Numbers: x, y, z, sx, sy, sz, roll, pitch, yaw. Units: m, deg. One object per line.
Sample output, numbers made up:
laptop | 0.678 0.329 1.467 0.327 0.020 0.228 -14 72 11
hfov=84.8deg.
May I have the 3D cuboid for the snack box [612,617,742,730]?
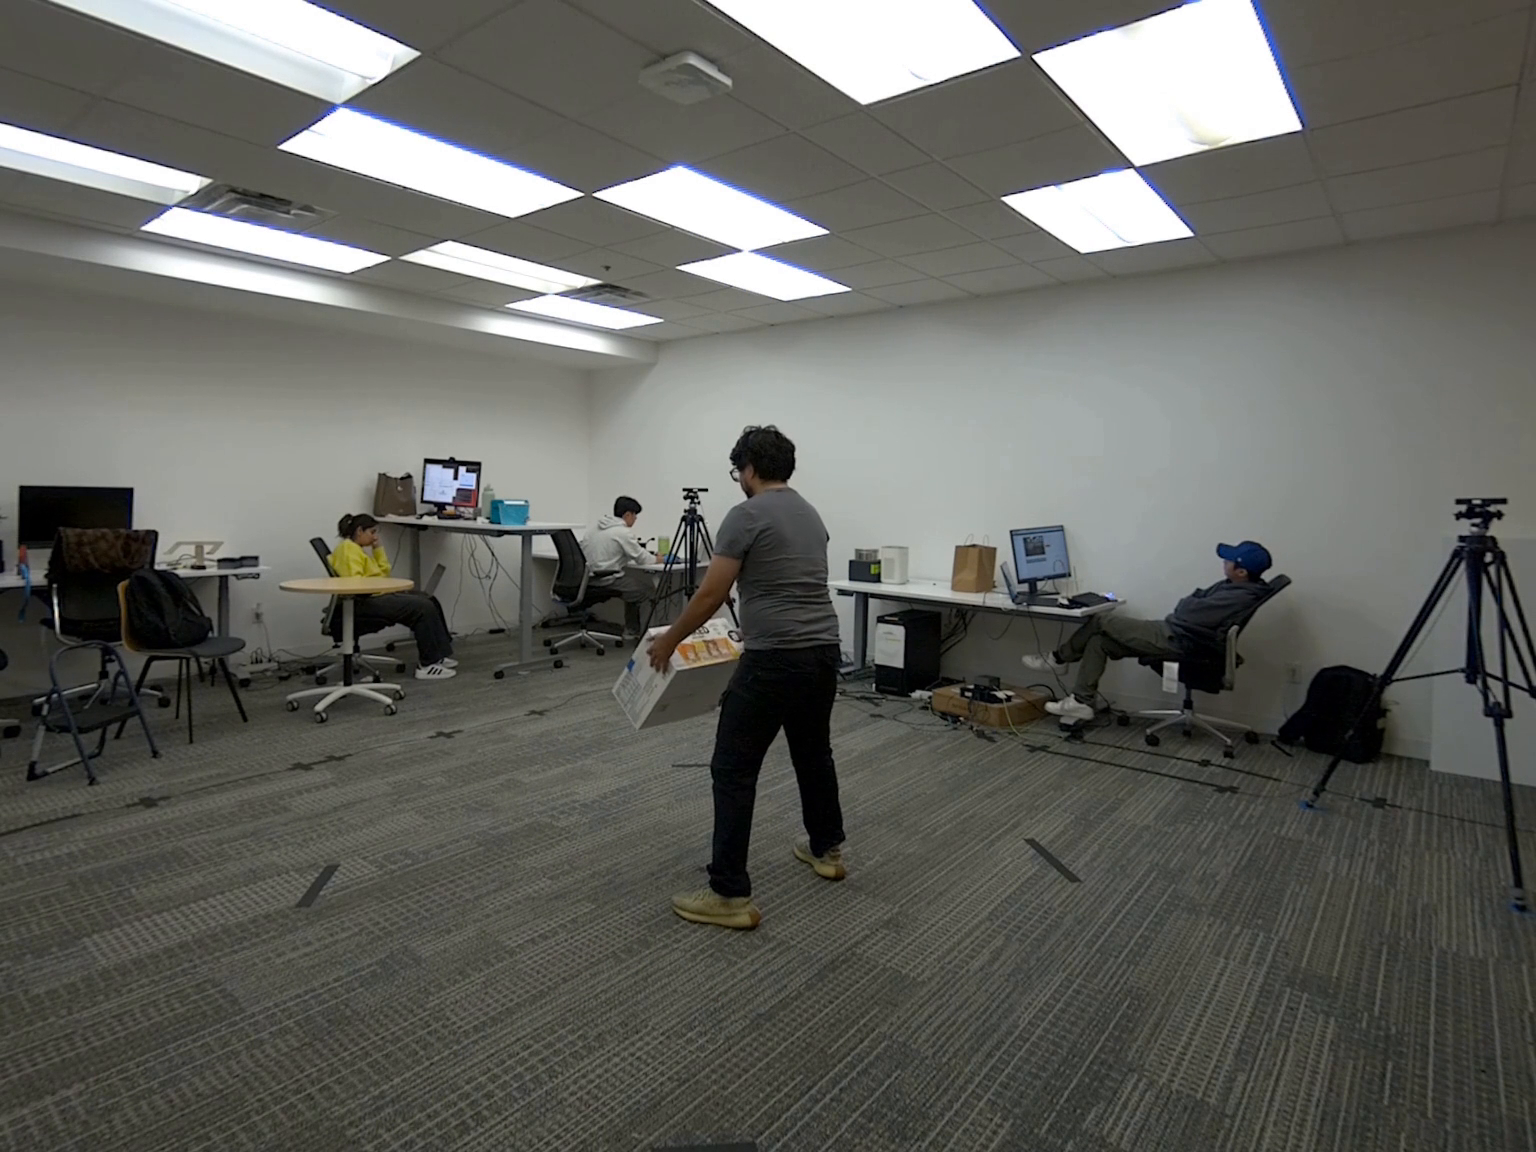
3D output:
snack box | -0.330 0.374 3.243 0.393 0.338 0.213 -4 45 -48
